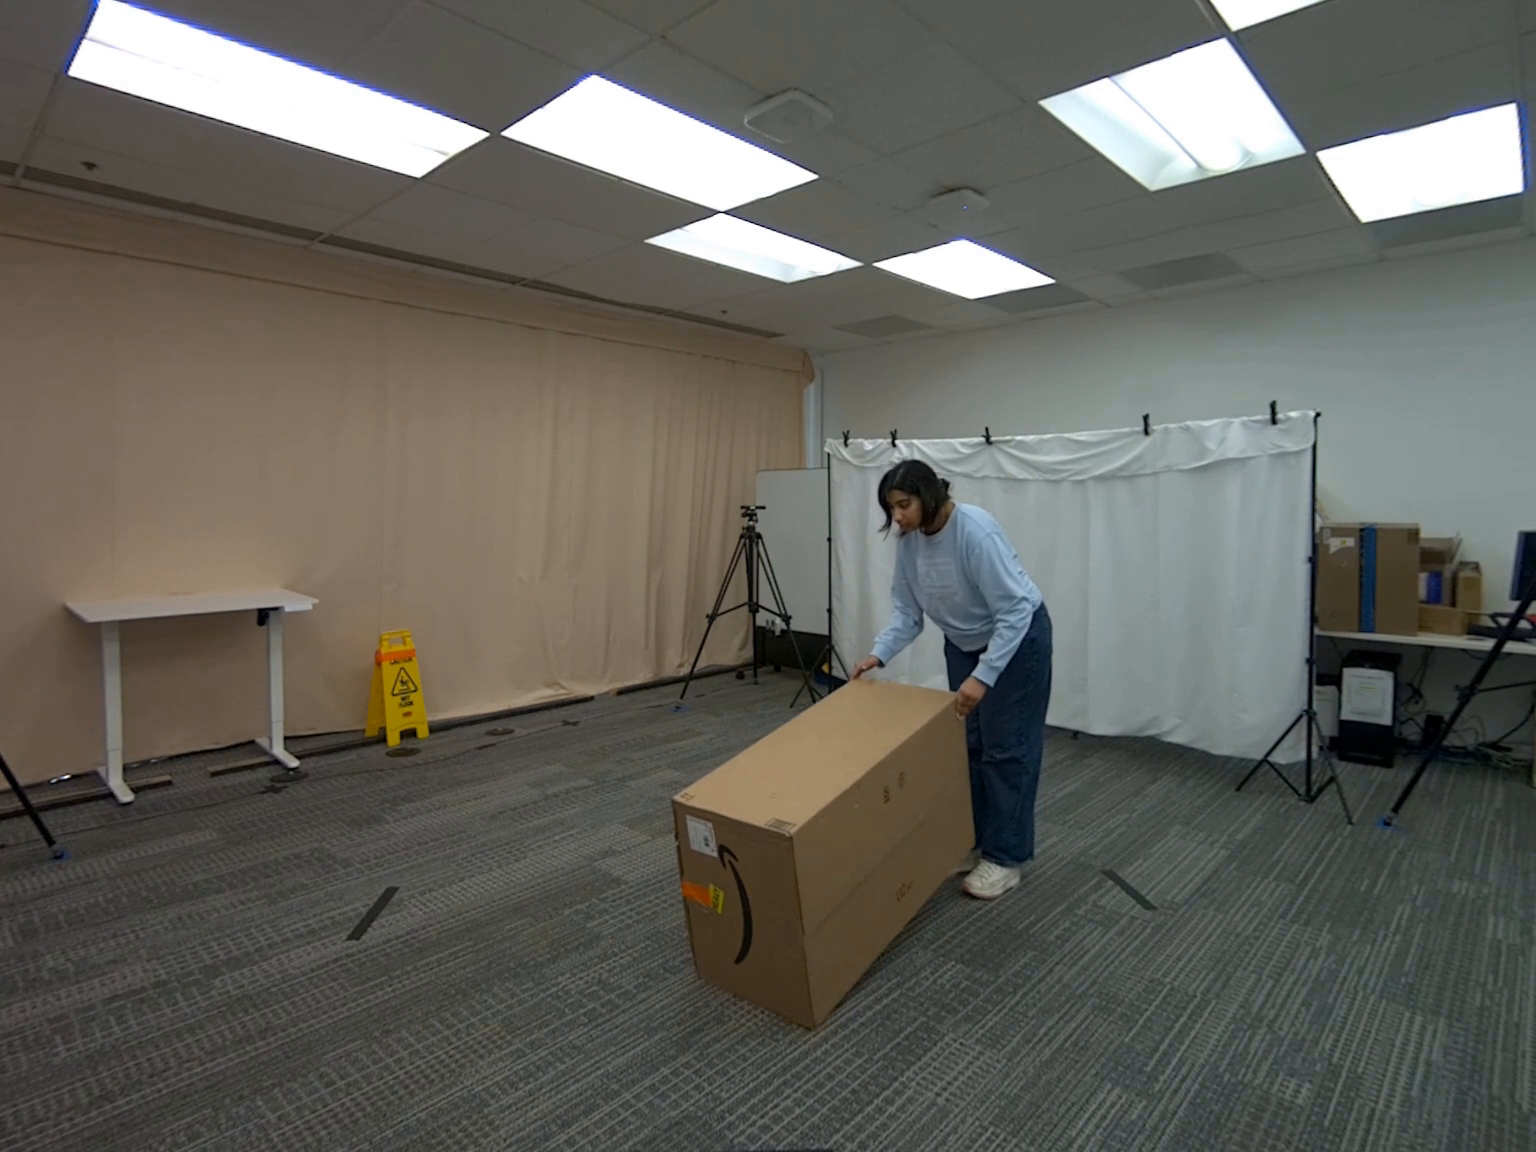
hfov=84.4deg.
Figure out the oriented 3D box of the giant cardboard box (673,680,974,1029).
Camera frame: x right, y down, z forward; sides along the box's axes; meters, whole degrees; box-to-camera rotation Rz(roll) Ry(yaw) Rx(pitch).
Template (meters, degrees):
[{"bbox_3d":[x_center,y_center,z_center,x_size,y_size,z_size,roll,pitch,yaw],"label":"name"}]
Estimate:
[{"bbox_3d":[0.229,0.795,2.685,0.461,0.579,1.003,4,16,39],"label":"giant cardboard box"}]
